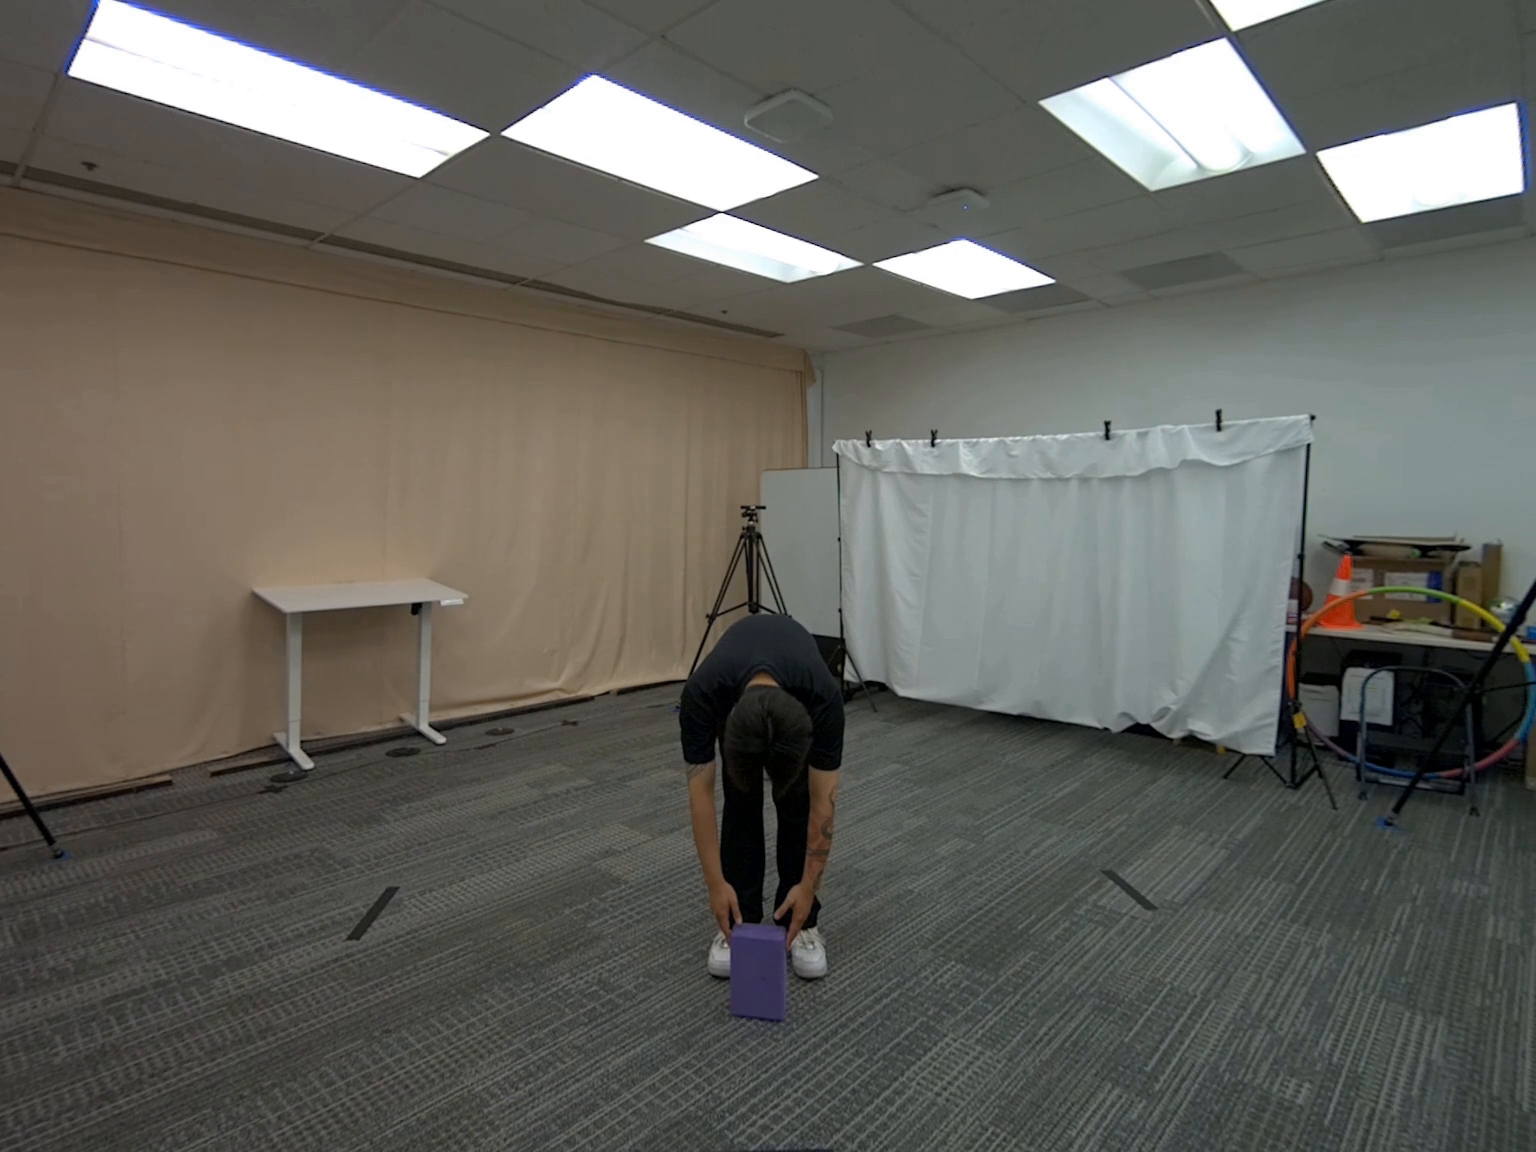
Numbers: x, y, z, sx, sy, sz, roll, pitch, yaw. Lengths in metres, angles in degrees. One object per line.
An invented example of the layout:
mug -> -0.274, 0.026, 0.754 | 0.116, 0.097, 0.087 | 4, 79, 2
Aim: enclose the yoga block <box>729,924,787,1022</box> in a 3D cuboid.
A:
yoga block -> -0.025, 1.080, 2.314 | 0.150, 0.229, 0.076 | -1, 3, 9
